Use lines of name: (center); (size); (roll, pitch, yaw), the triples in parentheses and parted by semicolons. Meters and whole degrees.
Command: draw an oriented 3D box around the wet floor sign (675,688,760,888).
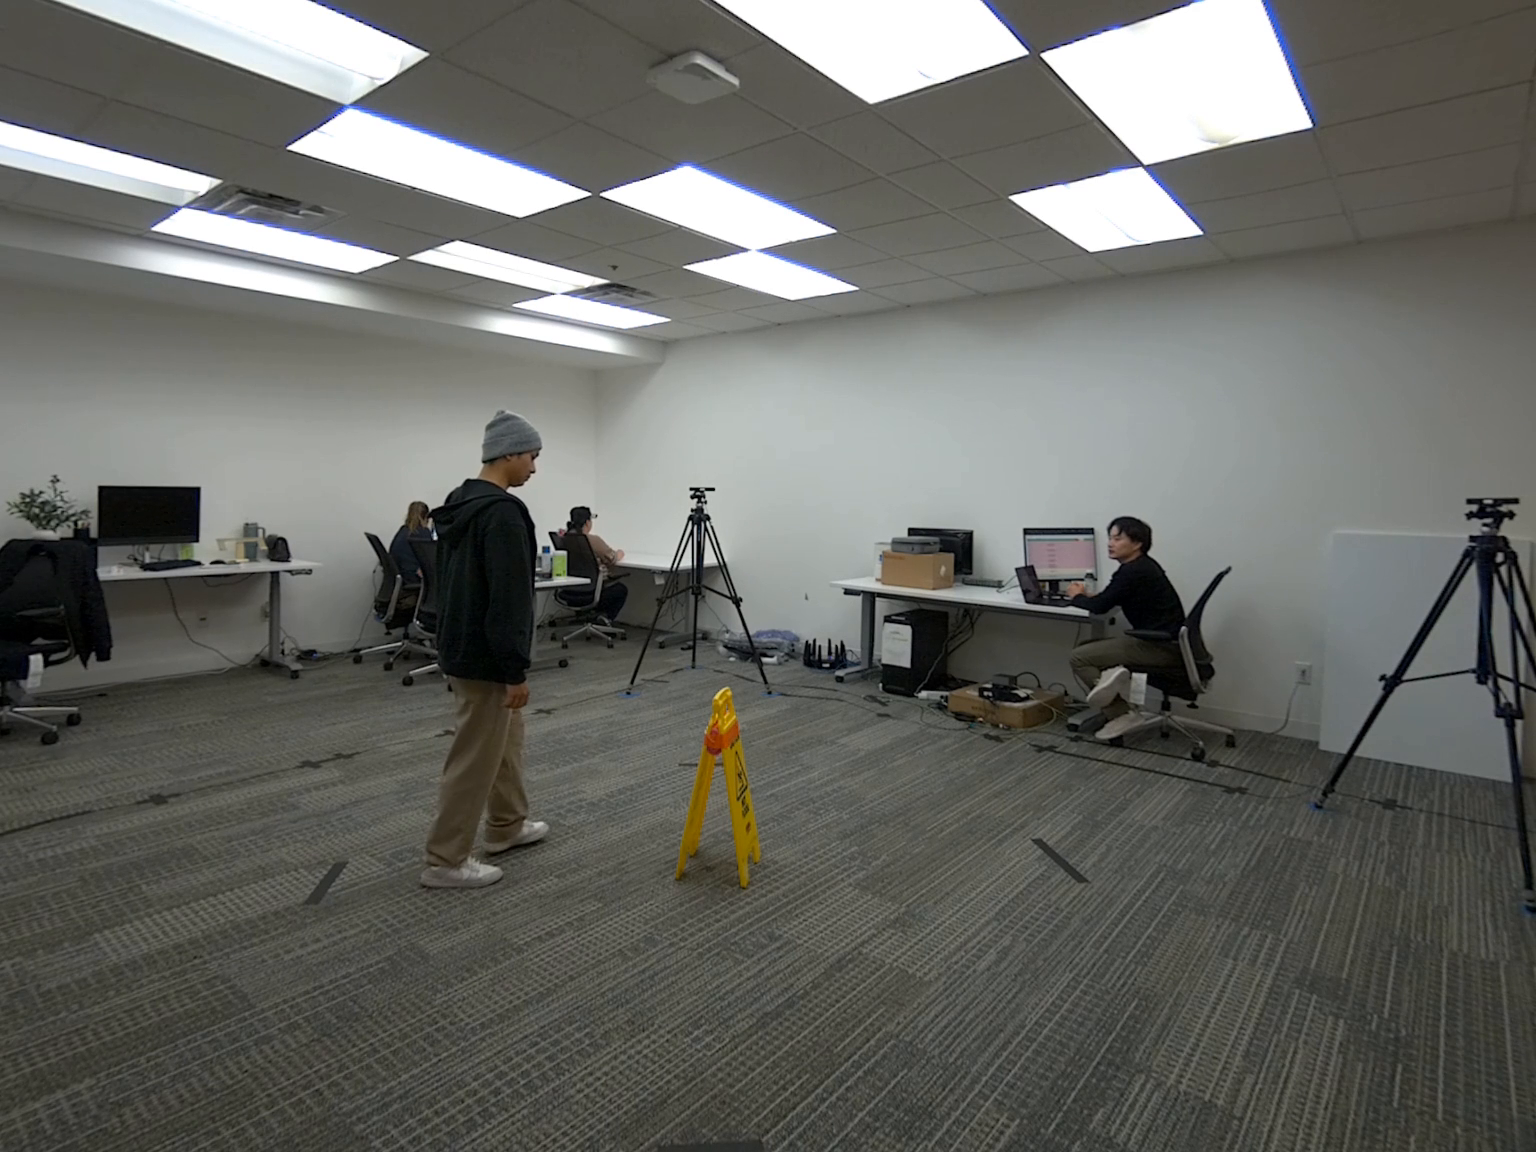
wet floor sign: (-0.180, 0.746, 3.094); (0.294, 0.644, 0.279); (3, 4, 11)
